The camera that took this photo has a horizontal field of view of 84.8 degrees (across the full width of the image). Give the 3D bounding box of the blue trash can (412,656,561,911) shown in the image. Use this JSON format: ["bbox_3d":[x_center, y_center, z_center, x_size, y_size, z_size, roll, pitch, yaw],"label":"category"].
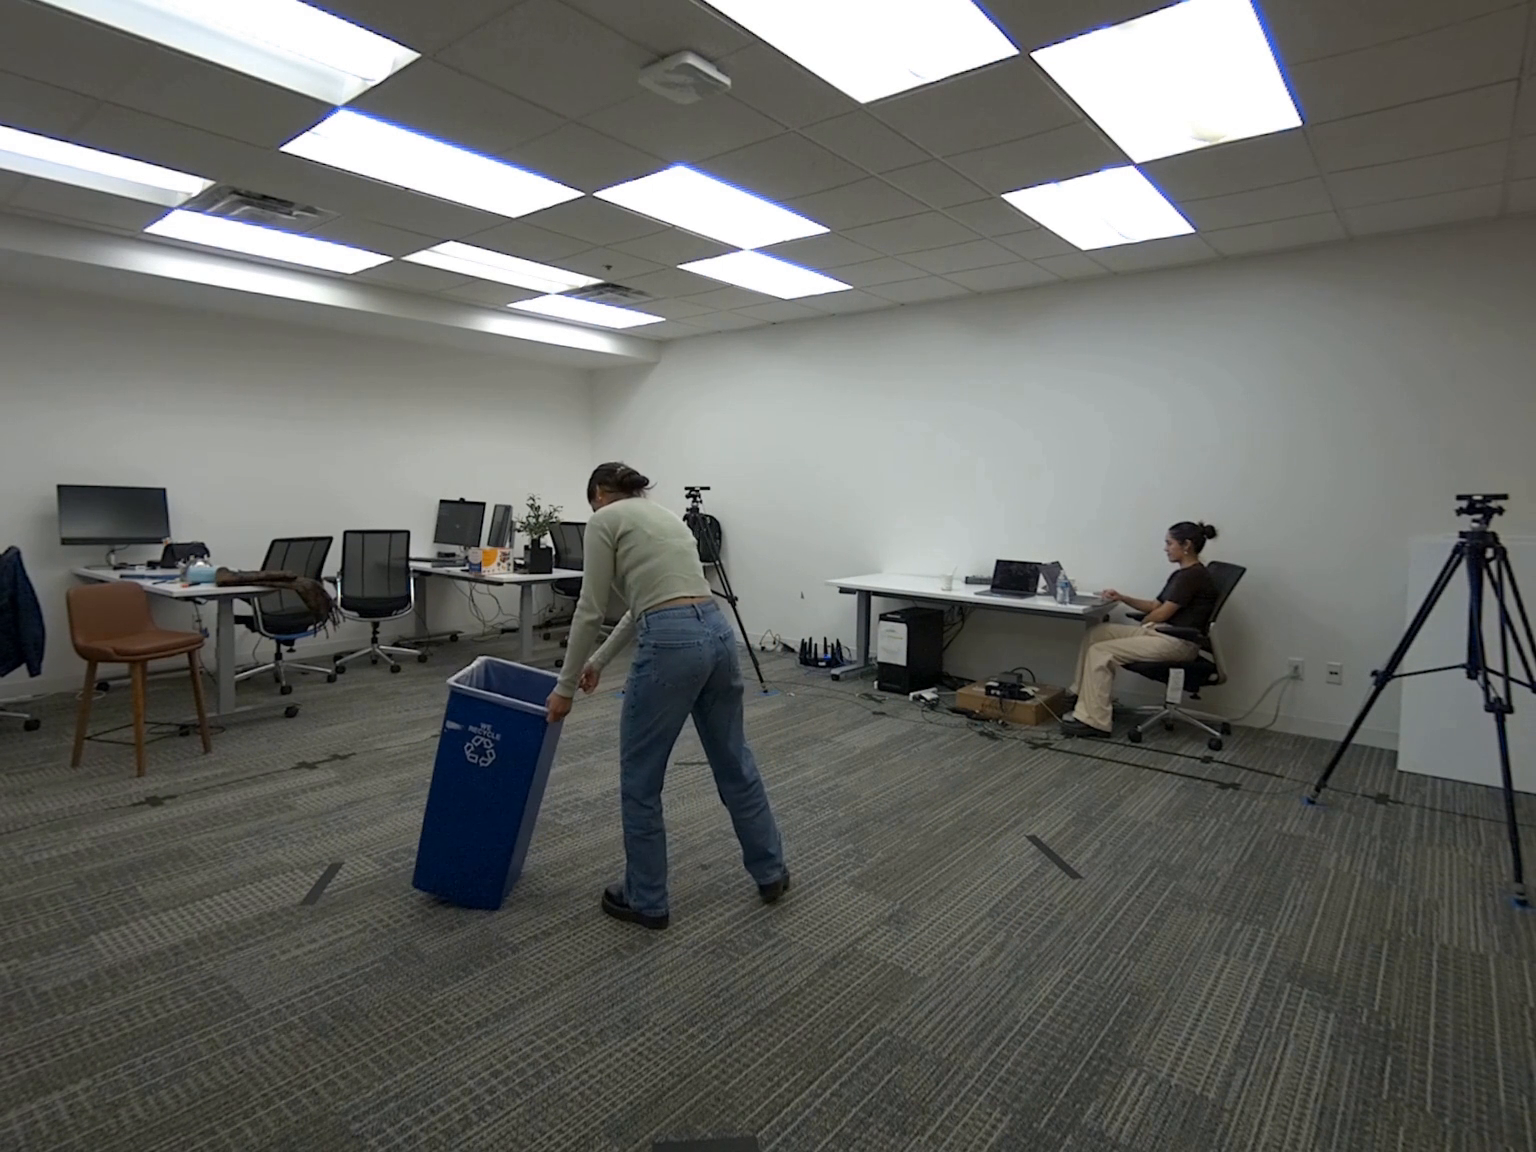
[{"bbox_3d":[-0.935,0.696,2.906,0.375,0.710,0.379,14,6,0],"label":"blue trash can"}]
